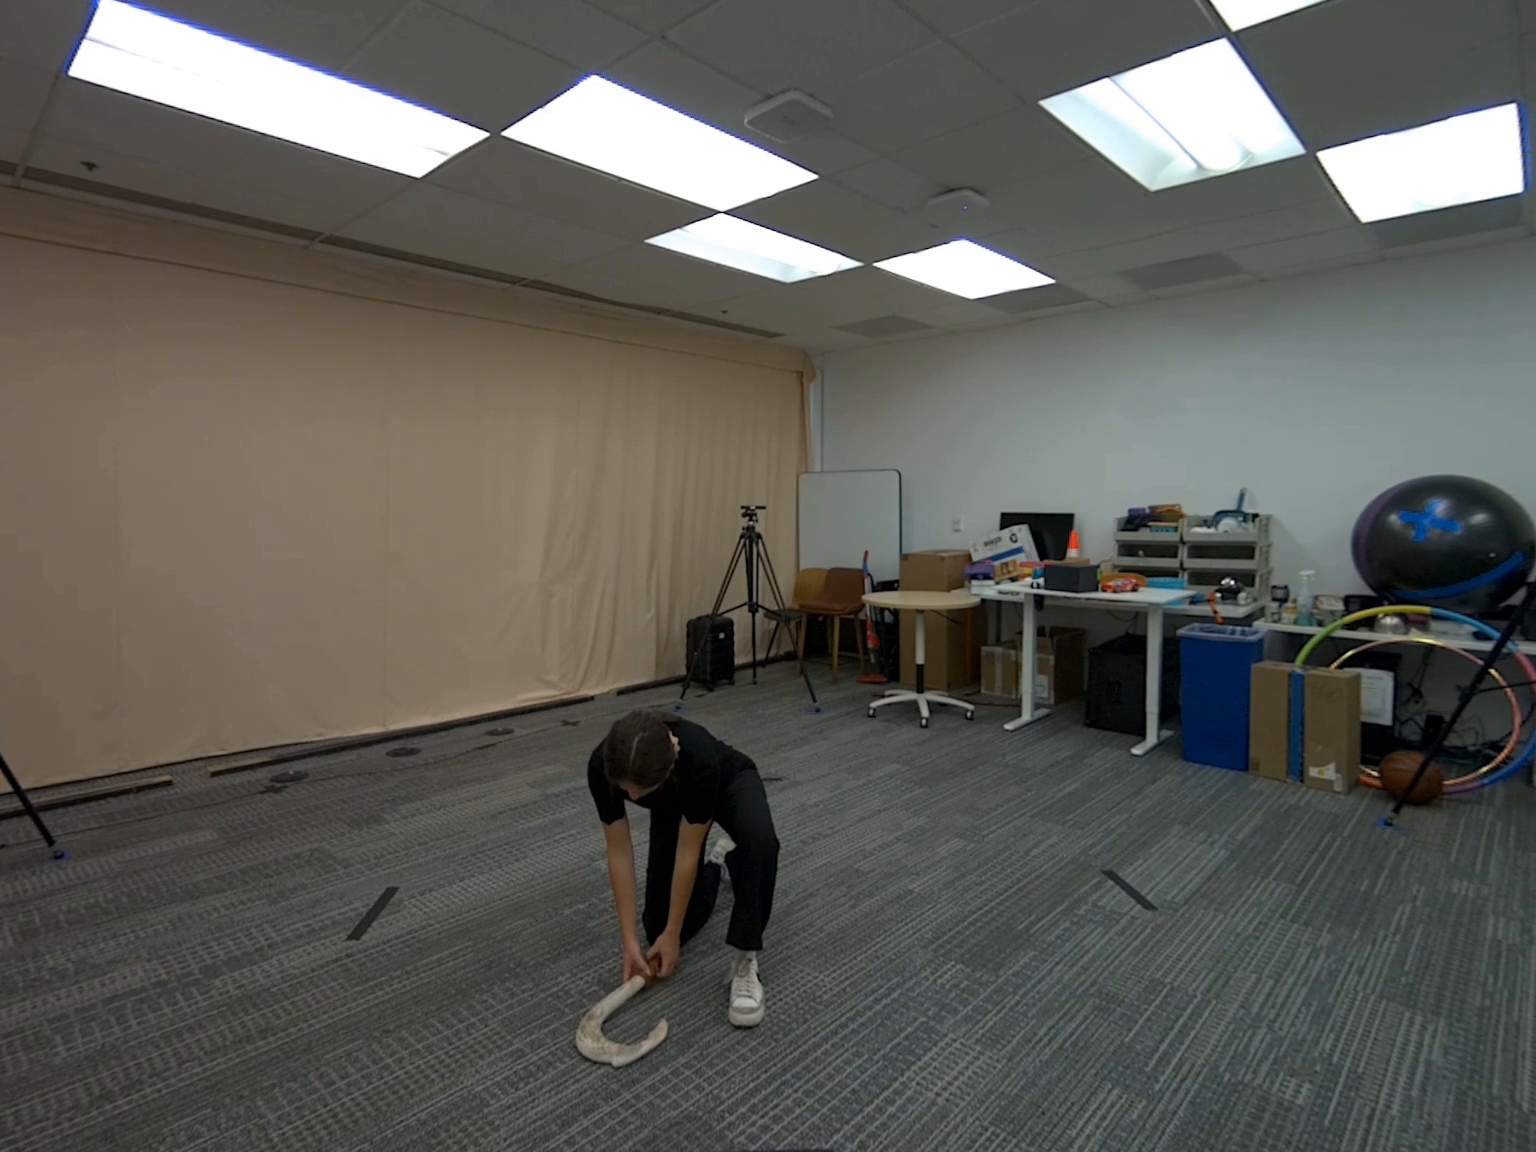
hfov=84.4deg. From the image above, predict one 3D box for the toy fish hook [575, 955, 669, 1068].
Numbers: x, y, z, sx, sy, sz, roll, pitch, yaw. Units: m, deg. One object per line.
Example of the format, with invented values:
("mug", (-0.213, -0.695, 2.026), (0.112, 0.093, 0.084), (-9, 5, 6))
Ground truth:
("toy fish hook", (-0.331, 1.162, 2.328), (0.229, 0.048, 0.499), (9, 13, 18))
